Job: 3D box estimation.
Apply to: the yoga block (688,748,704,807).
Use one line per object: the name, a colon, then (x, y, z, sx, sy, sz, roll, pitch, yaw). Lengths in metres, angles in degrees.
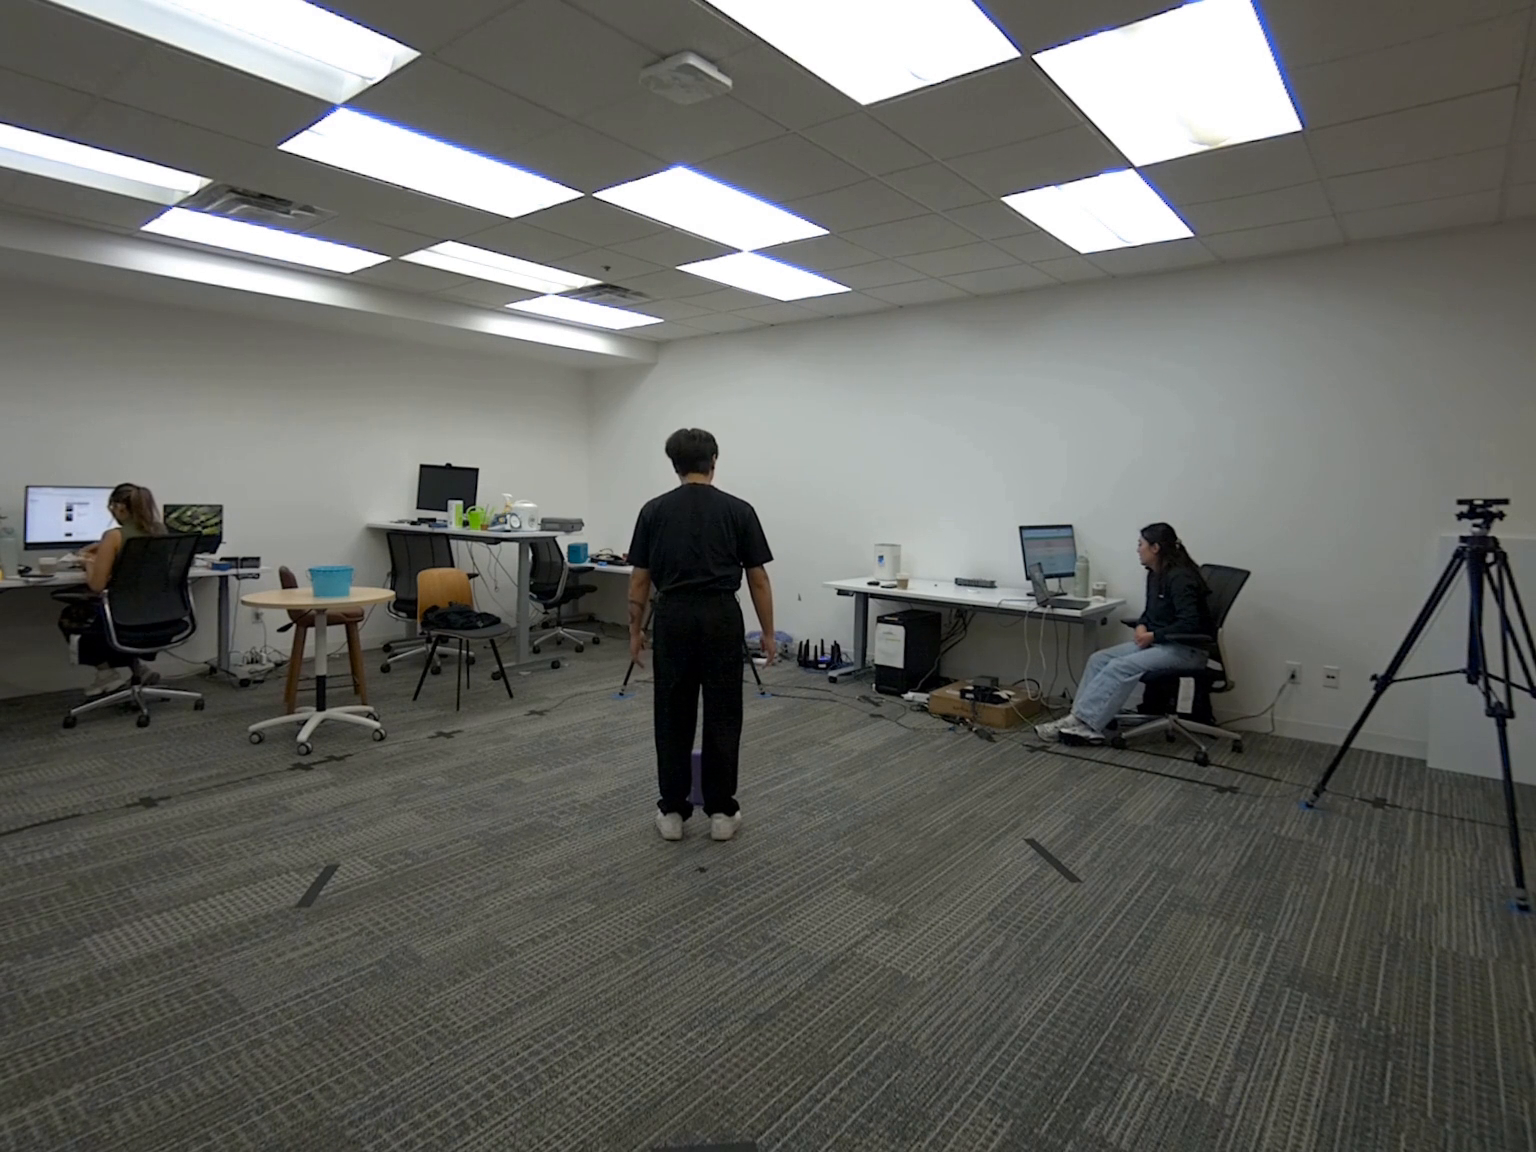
yoga block: (-0.287, 0.887, 3.764, 0.150, 0.229, 0.076, 1, 2, 5)
